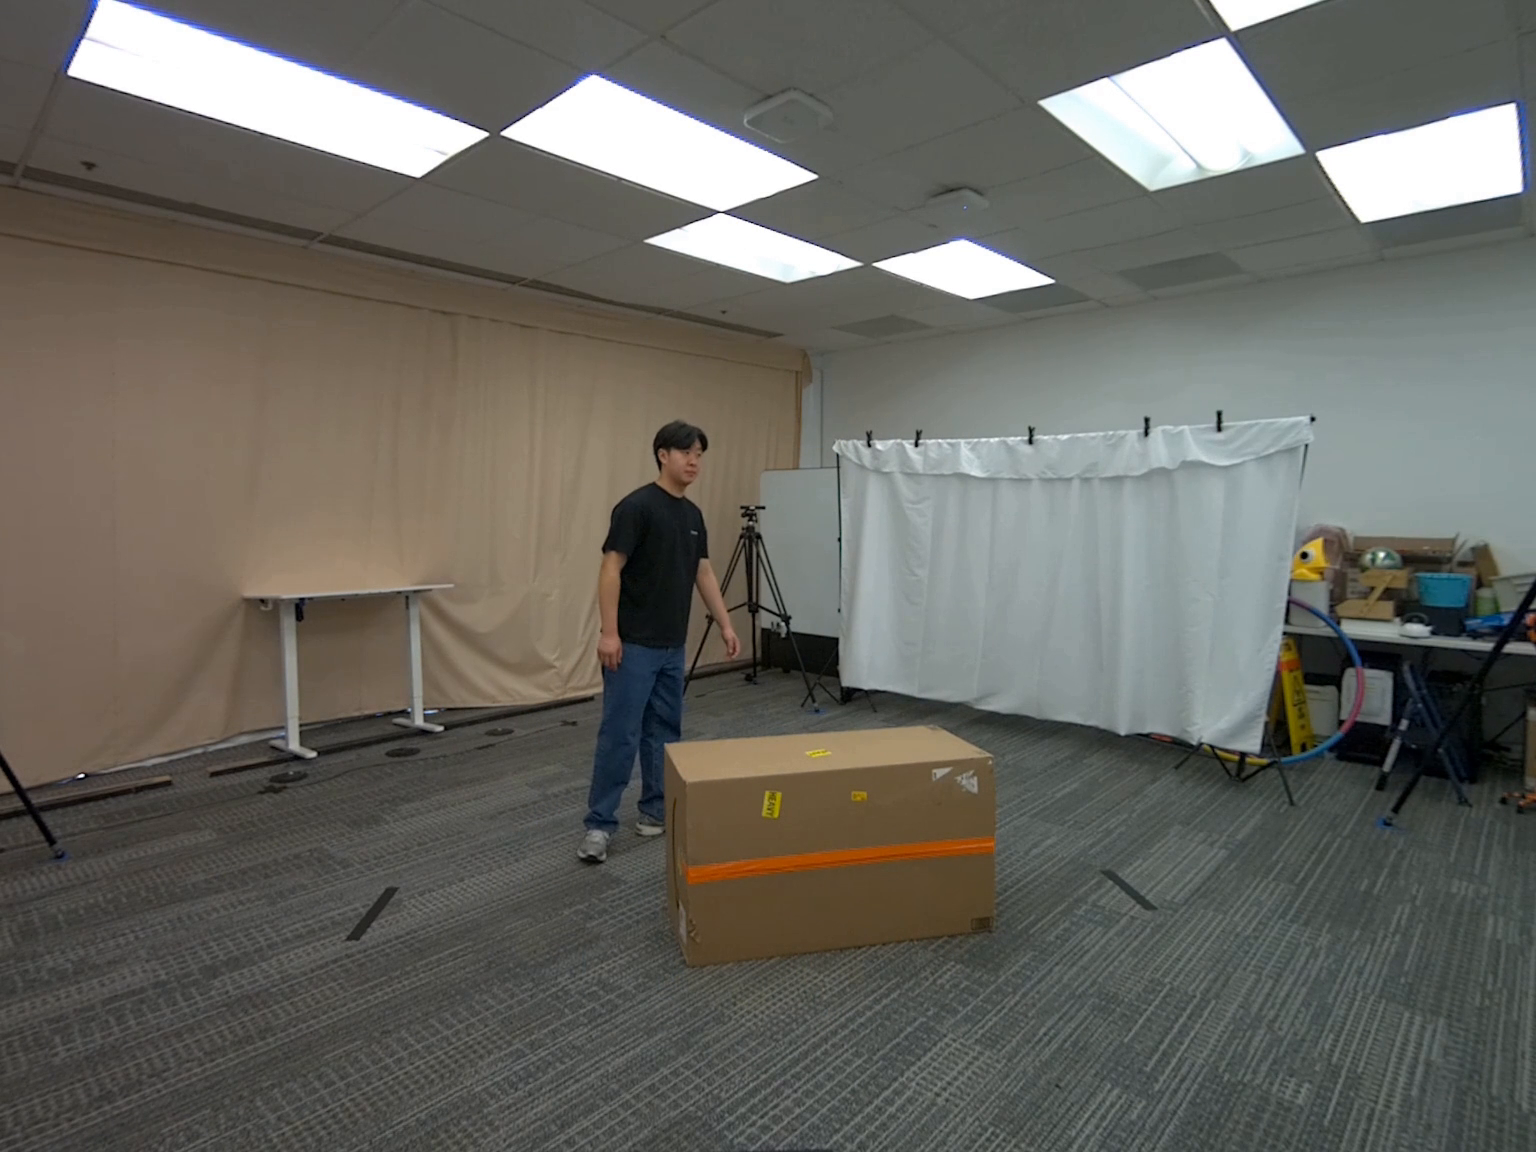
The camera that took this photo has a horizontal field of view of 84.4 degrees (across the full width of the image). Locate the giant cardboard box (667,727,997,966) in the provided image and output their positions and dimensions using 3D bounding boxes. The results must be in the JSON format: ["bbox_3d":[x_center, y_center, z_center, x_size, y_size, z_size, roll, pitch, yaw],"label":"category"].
[{"bbox_3d":[0.192,0.867,2.830,1.013,0.582,0.454,-2,5,-14],"label":"giant cardboard box"}]
